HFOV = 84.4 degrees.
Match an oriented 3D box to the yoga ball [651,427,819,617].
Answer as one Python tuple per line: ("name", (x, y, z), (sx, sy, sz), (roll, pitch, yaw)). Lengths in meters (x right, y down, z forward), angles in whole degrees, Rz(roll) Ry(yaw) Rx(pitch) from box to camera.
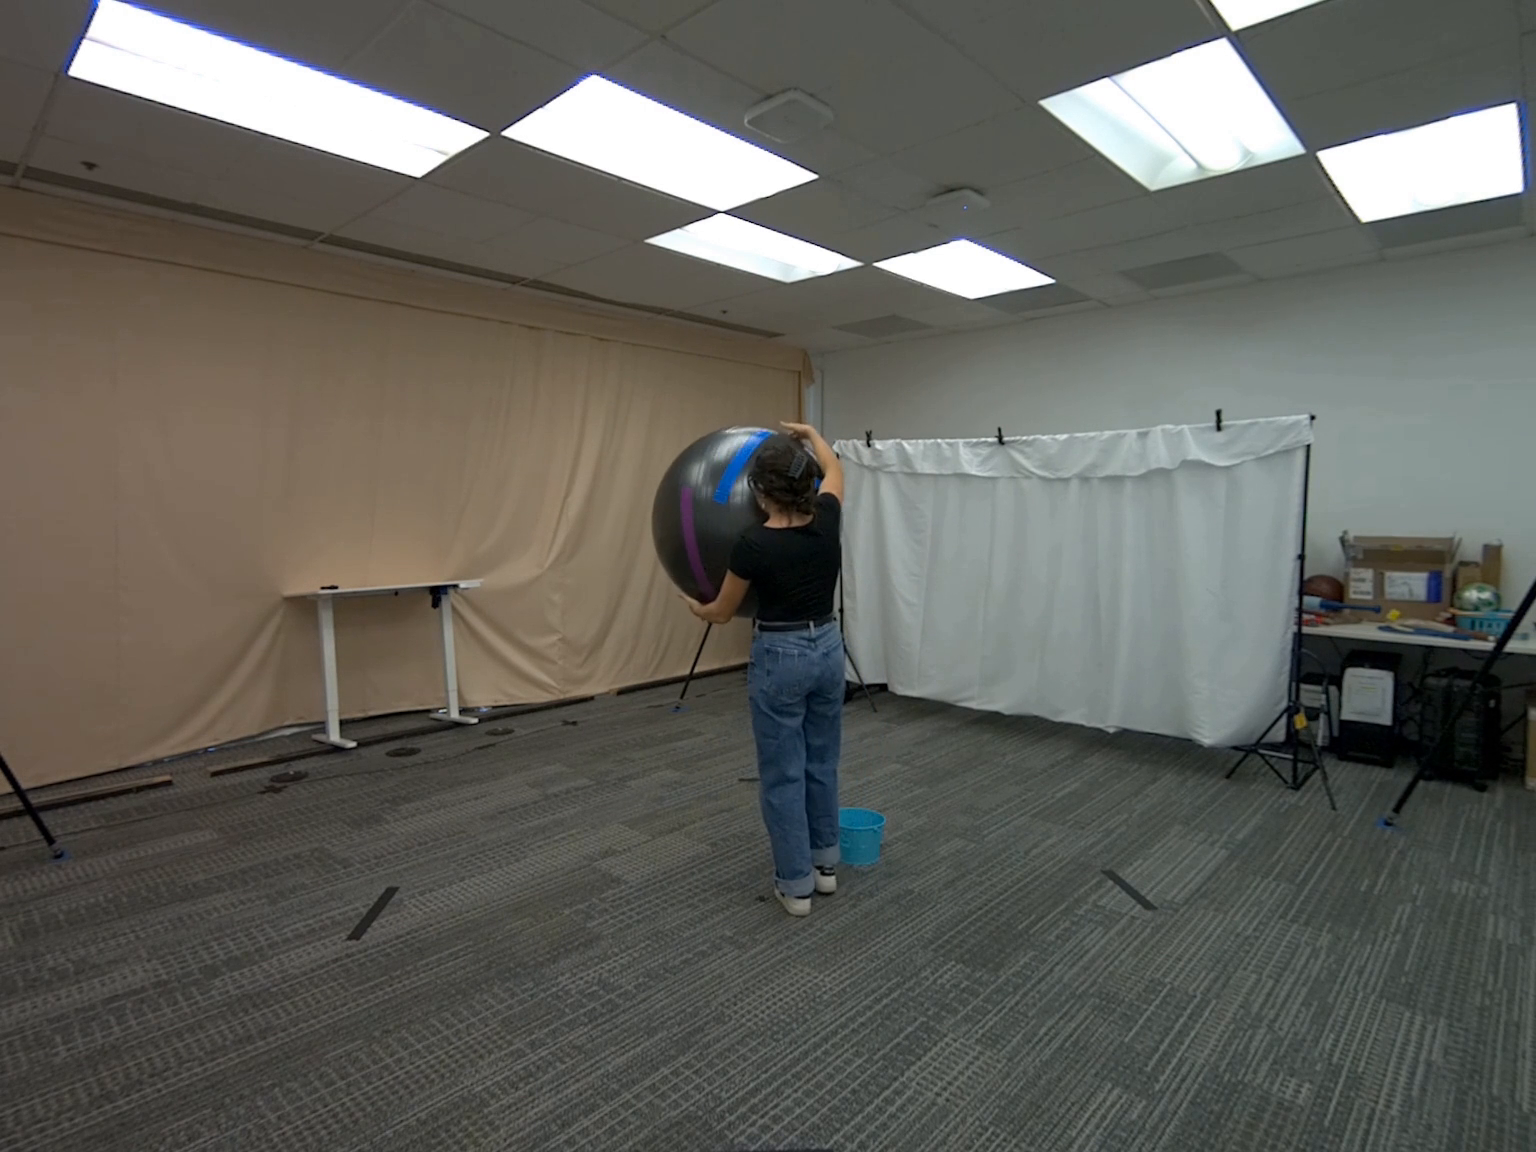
("yoga ball", (-0.077, -0.213, 3.349), (0.757, 0.756, 0.760), (0, 4, -2))
